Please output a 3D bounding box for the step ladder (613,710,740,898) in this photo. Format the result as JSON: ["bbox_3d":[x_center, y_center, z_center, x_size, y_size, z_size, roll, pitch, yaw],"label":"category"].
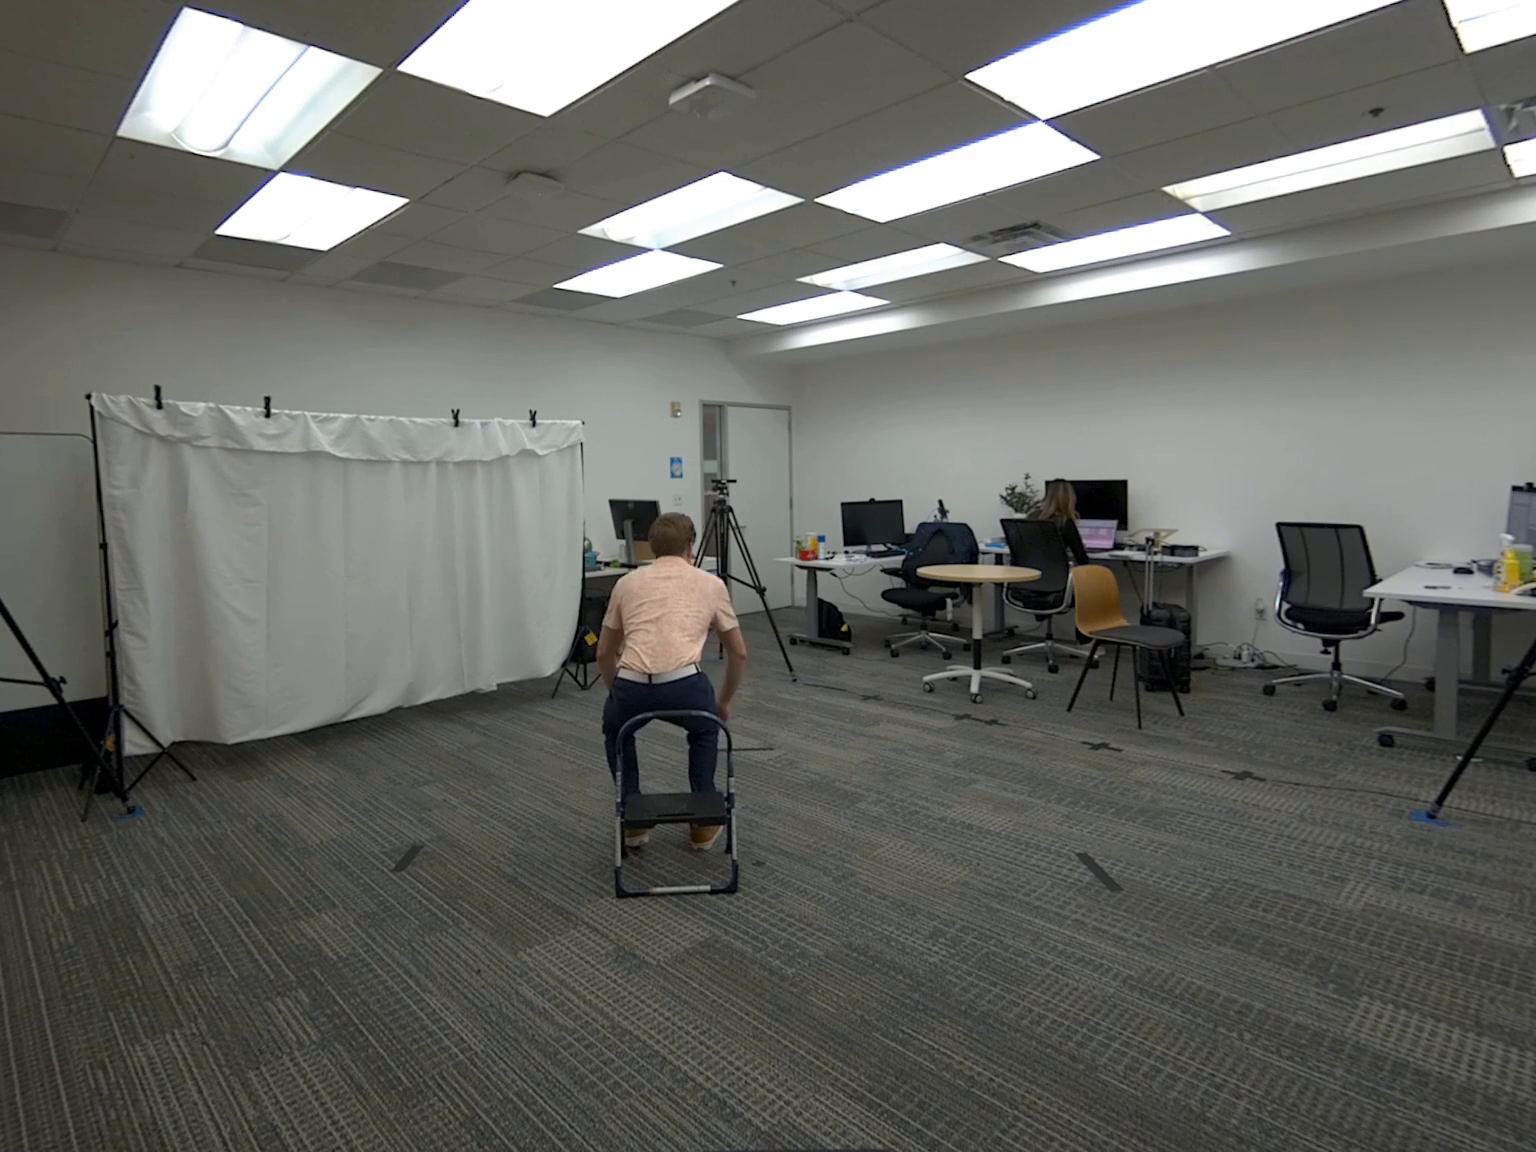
[{"bbox_3d":[-0.330,0.765,3.021,0.429,0.604,0.352,-2,5,-5],"label":"step ladder"}]
